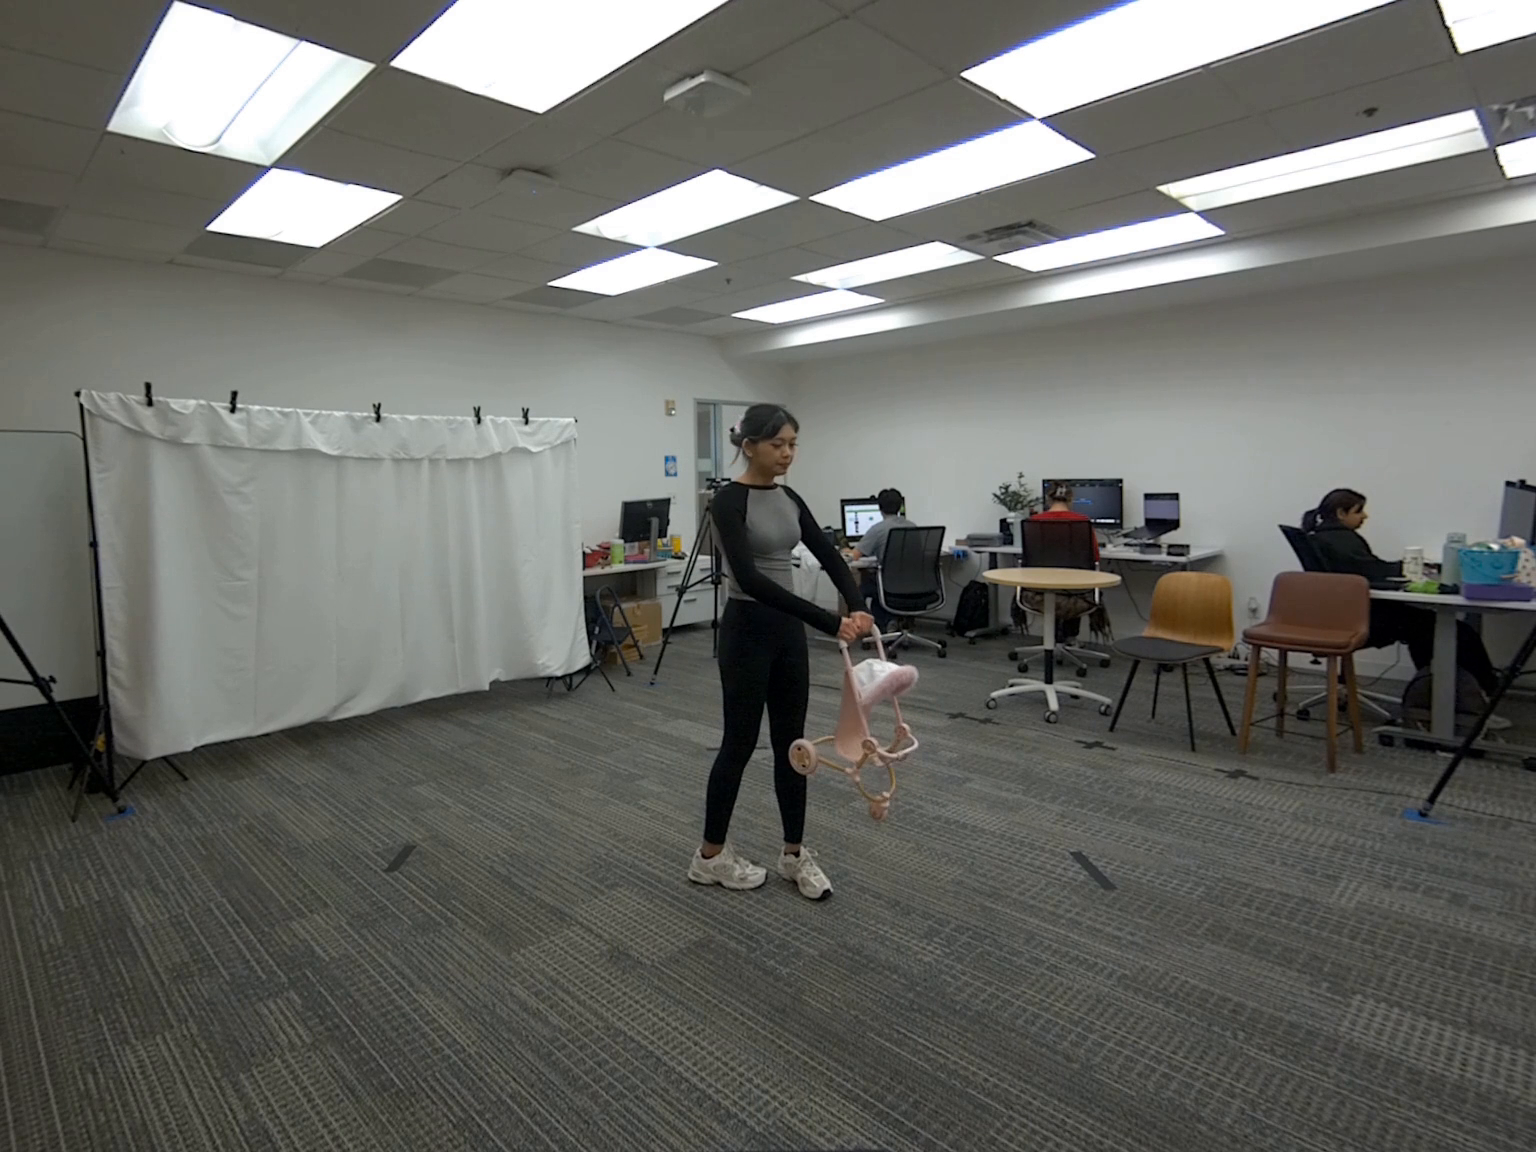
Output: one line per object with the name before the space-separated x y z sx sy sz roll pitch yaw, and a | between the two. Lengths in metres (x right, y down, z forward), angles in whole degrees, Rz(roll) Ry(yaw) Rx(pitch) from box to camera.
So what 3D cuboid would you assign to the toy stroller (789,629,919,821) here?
toy stroller | 0.318 0.461 2.638 0.273 0.529 0.354 -2 25 -45
